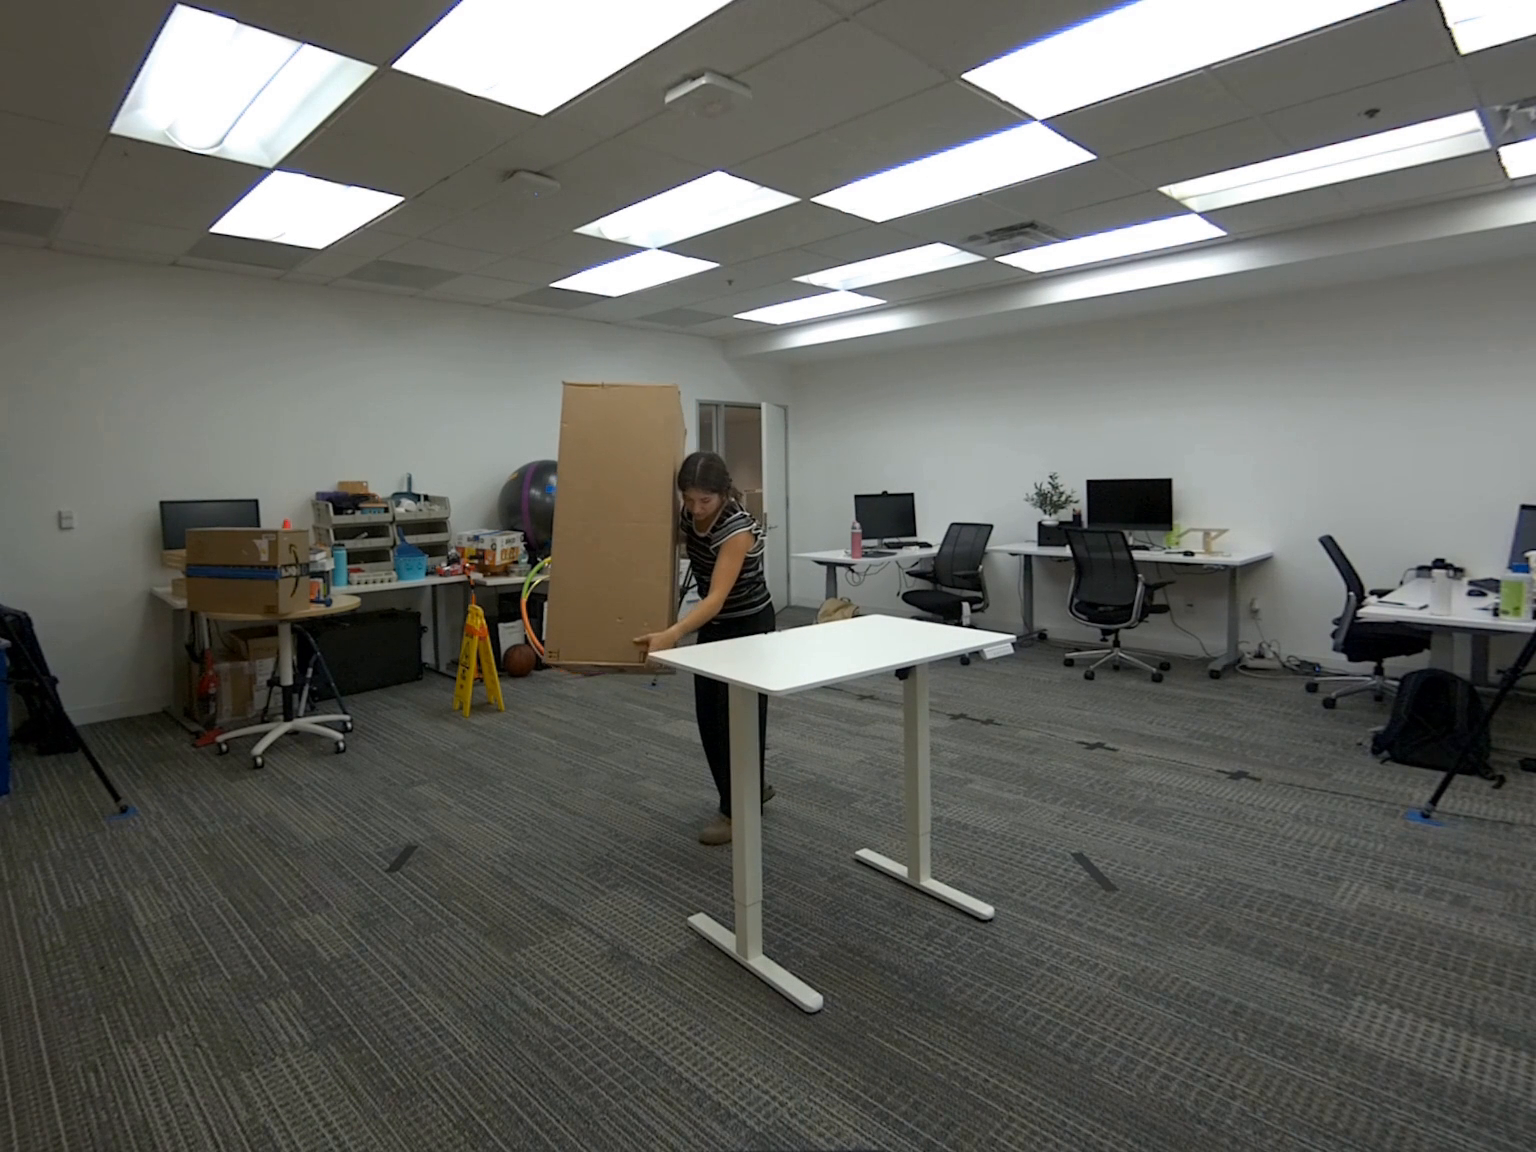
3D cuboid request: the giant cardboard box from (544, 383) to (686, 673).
[{"bbox_3d":[-0.562,-0.153,3.285,0.426,1.036,0.571,1,-11,0],"label":"giant cardboard box"}]
